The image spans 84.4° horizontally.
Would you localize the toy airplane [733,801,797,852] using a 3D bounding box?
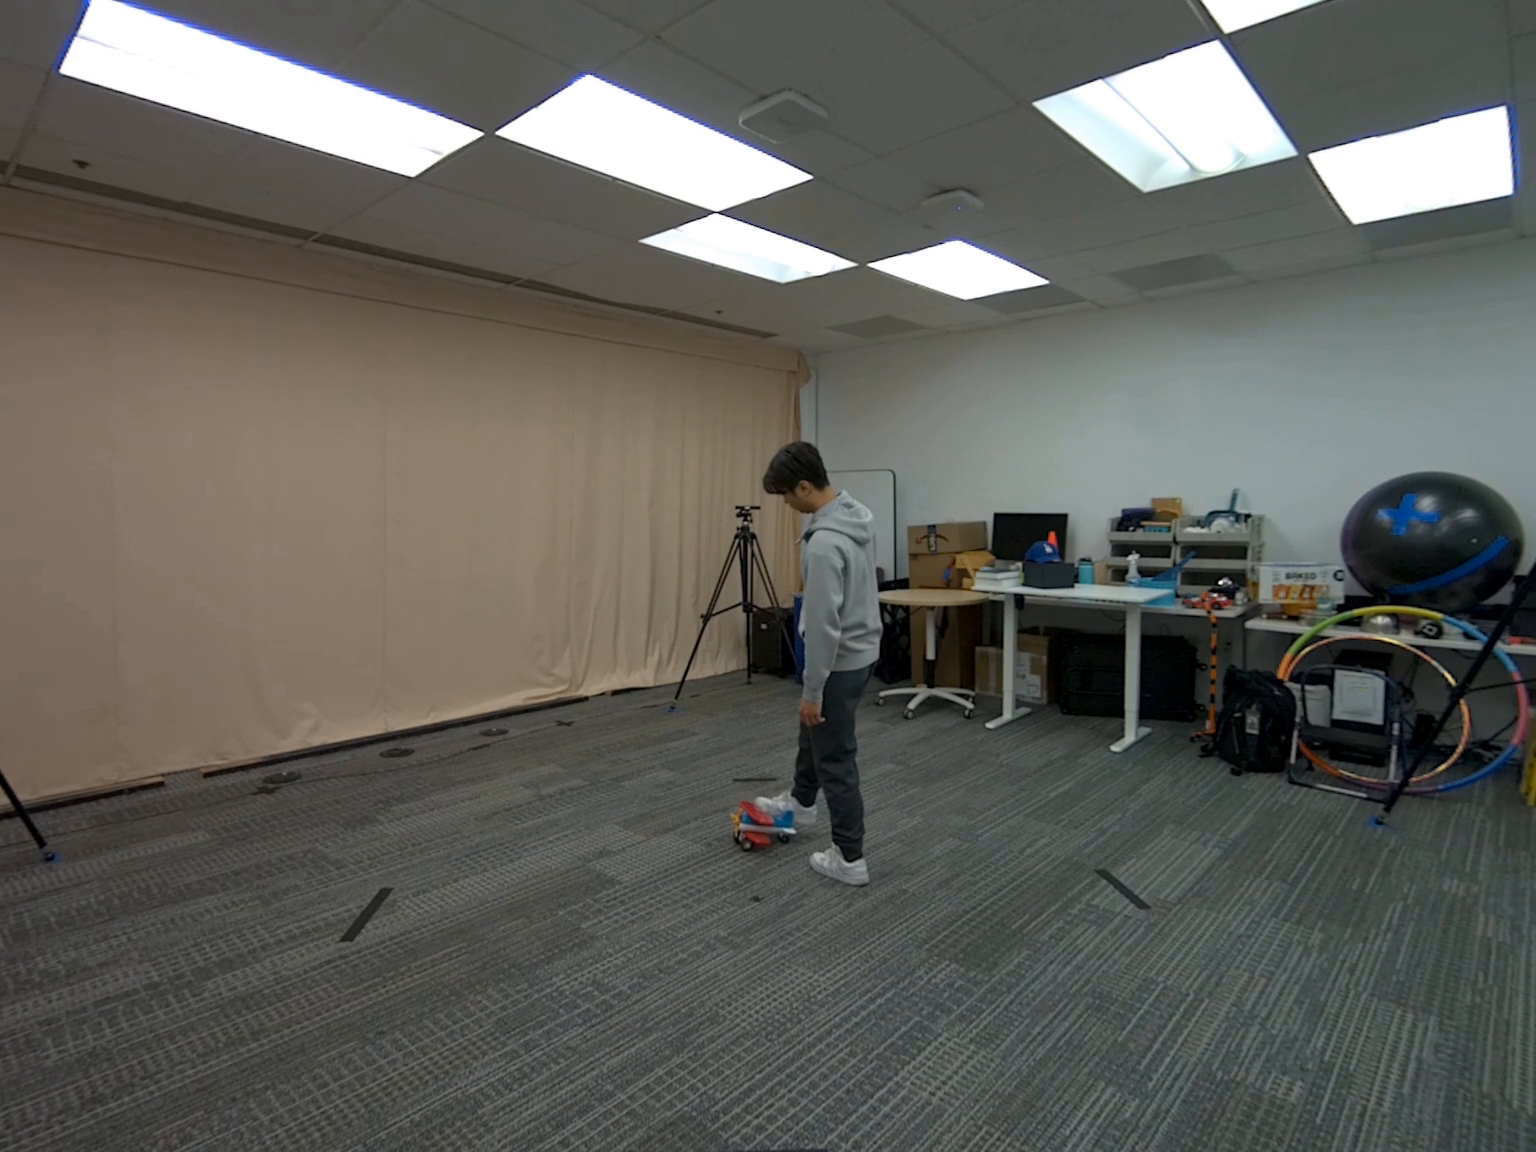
[{"bbox_3d":[-0.022,1.029,3.473,0.259,0.156,0.251,3,4,44],"label":"toy airplane"}]
